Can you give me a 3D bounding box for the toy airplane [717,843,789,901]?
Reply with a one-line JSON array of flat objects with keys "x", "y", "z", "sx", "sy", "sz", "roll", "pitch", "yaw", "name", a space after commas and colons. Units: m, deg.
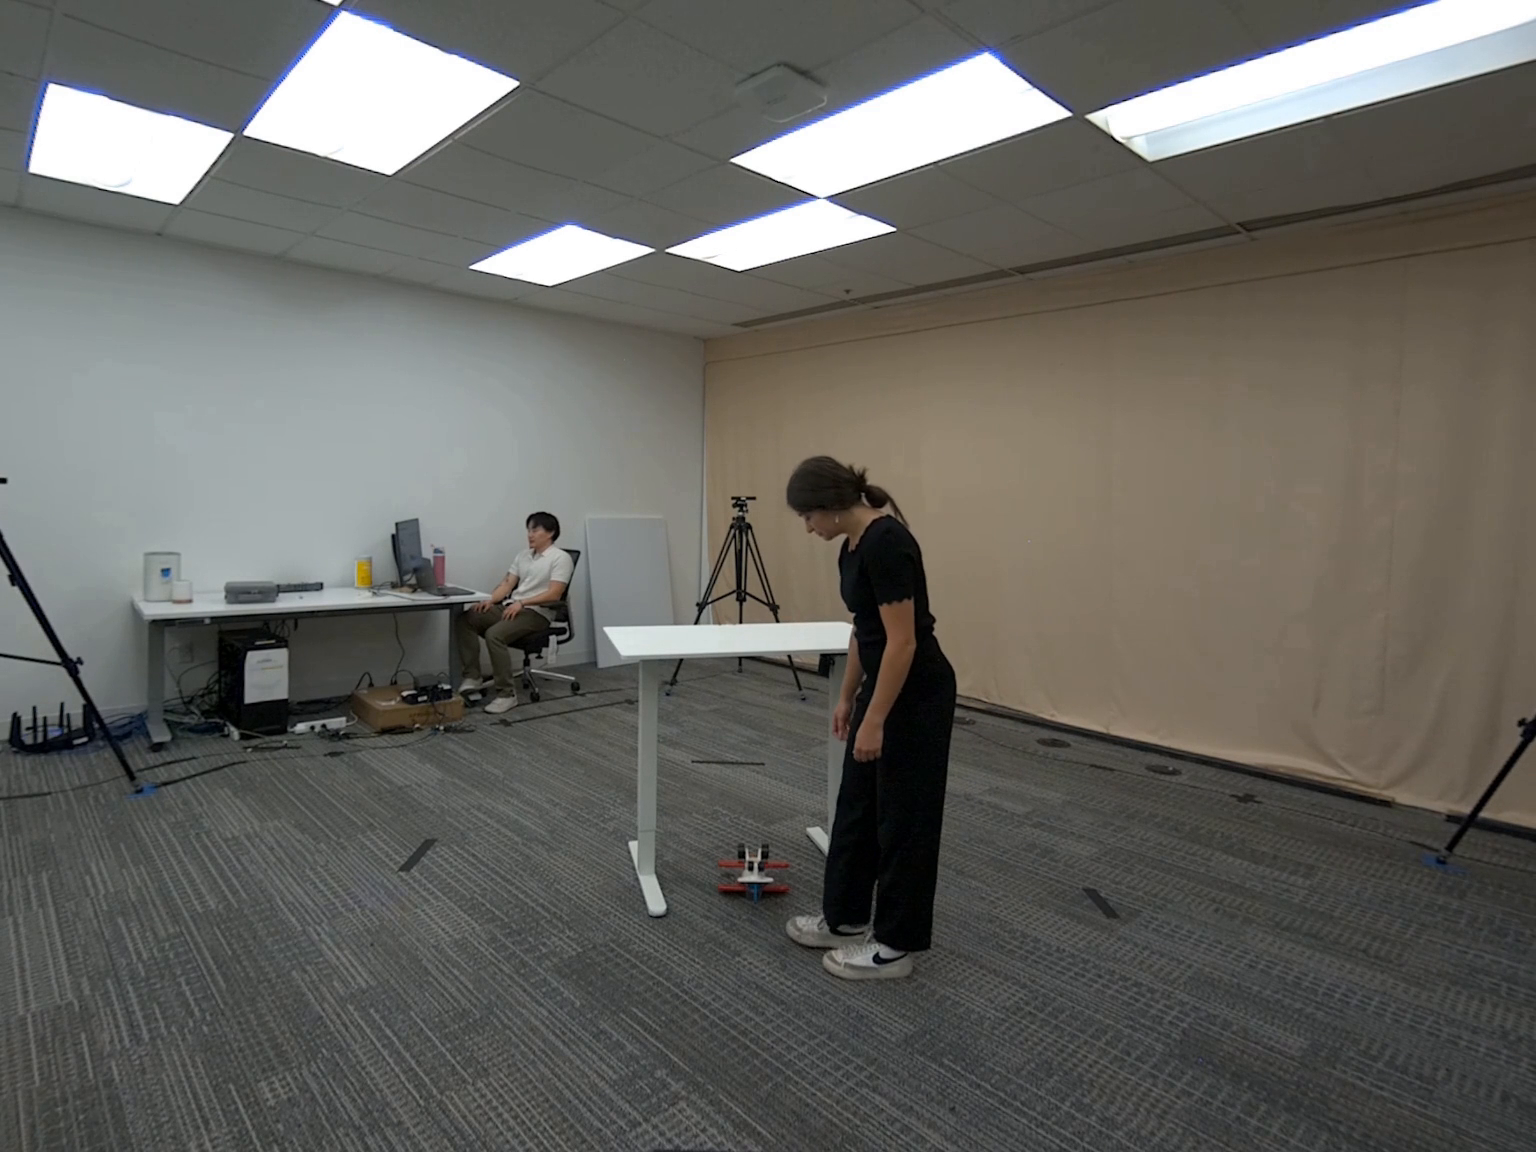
[{"x": -0.074, "y": 1.040, "z": 2.937, "sx": 0.256, "sy": 0.156, "sz": 0.254, "roll": 1, "pitch": 1, "yaw": 26, "name": "toy airplane"}]
